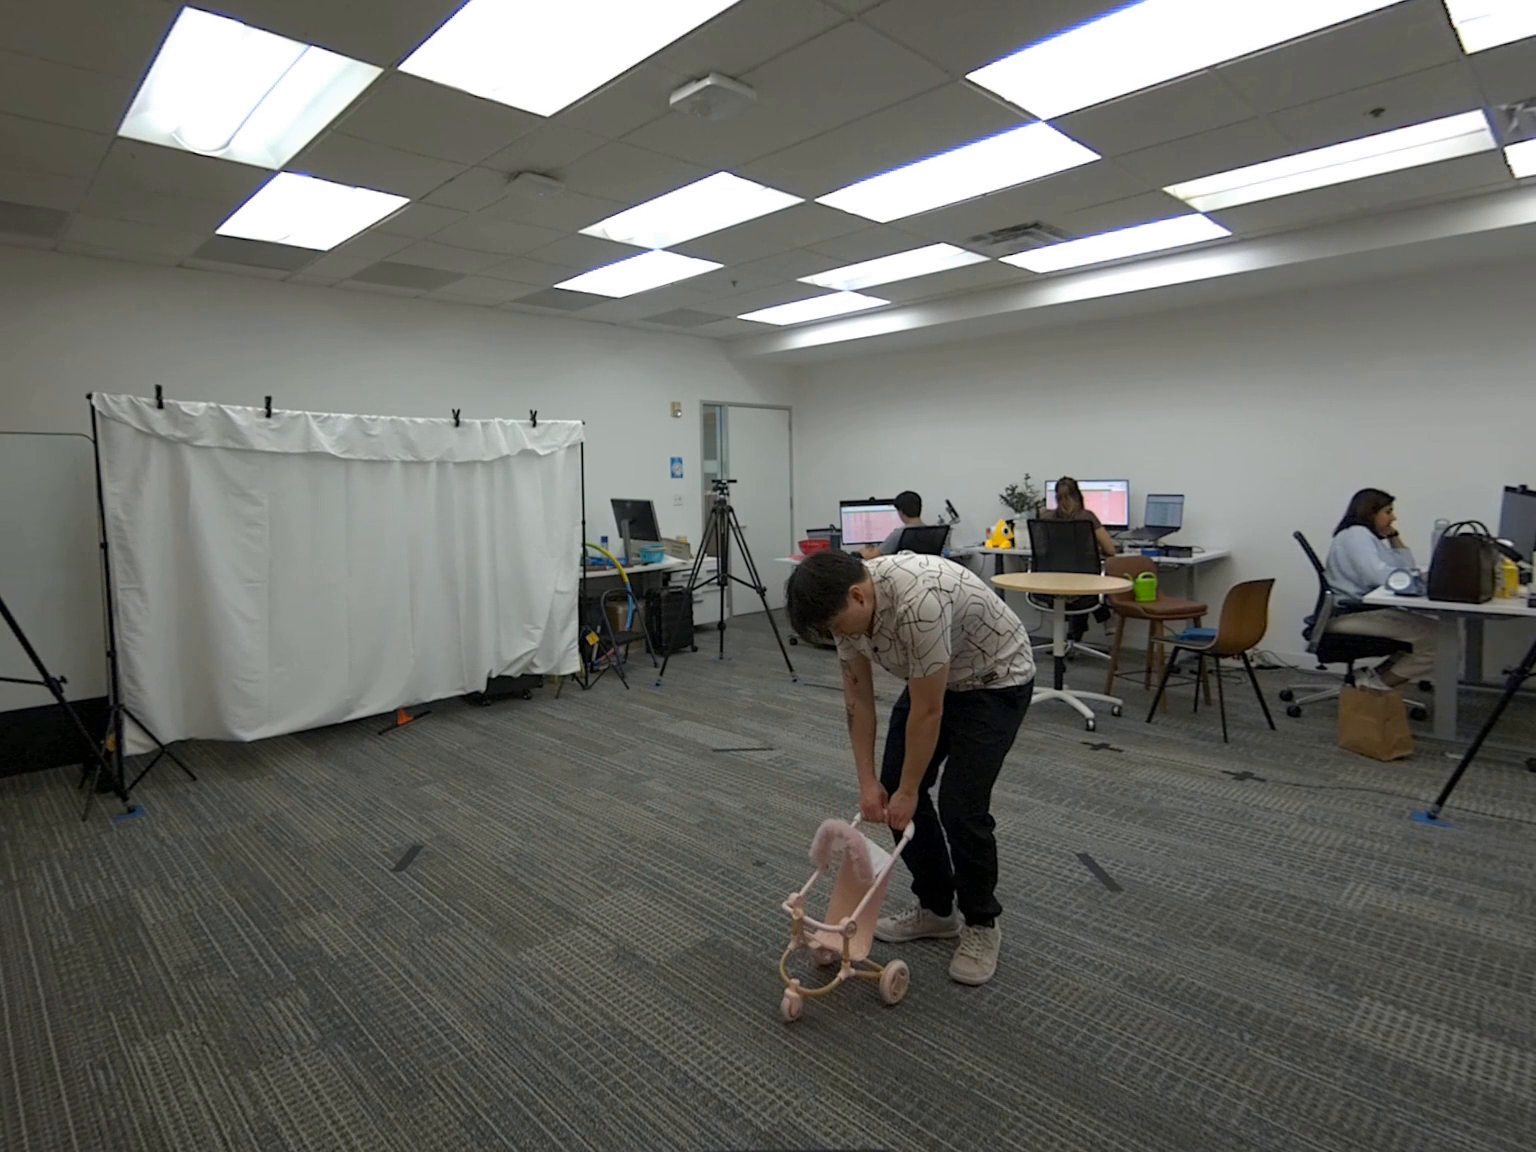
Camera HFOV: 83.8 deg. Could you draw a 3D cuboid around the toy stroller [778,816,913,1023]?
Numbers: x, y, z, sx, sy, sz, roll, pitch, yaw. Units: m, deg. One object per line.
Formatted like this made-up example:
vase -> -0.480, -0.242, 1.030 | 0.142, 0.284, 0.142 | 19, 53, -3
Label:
toy stroller -> 0.200, 0.909, 2.314 | 0.330, 0.537, 0.289 | 14, -8, -36
